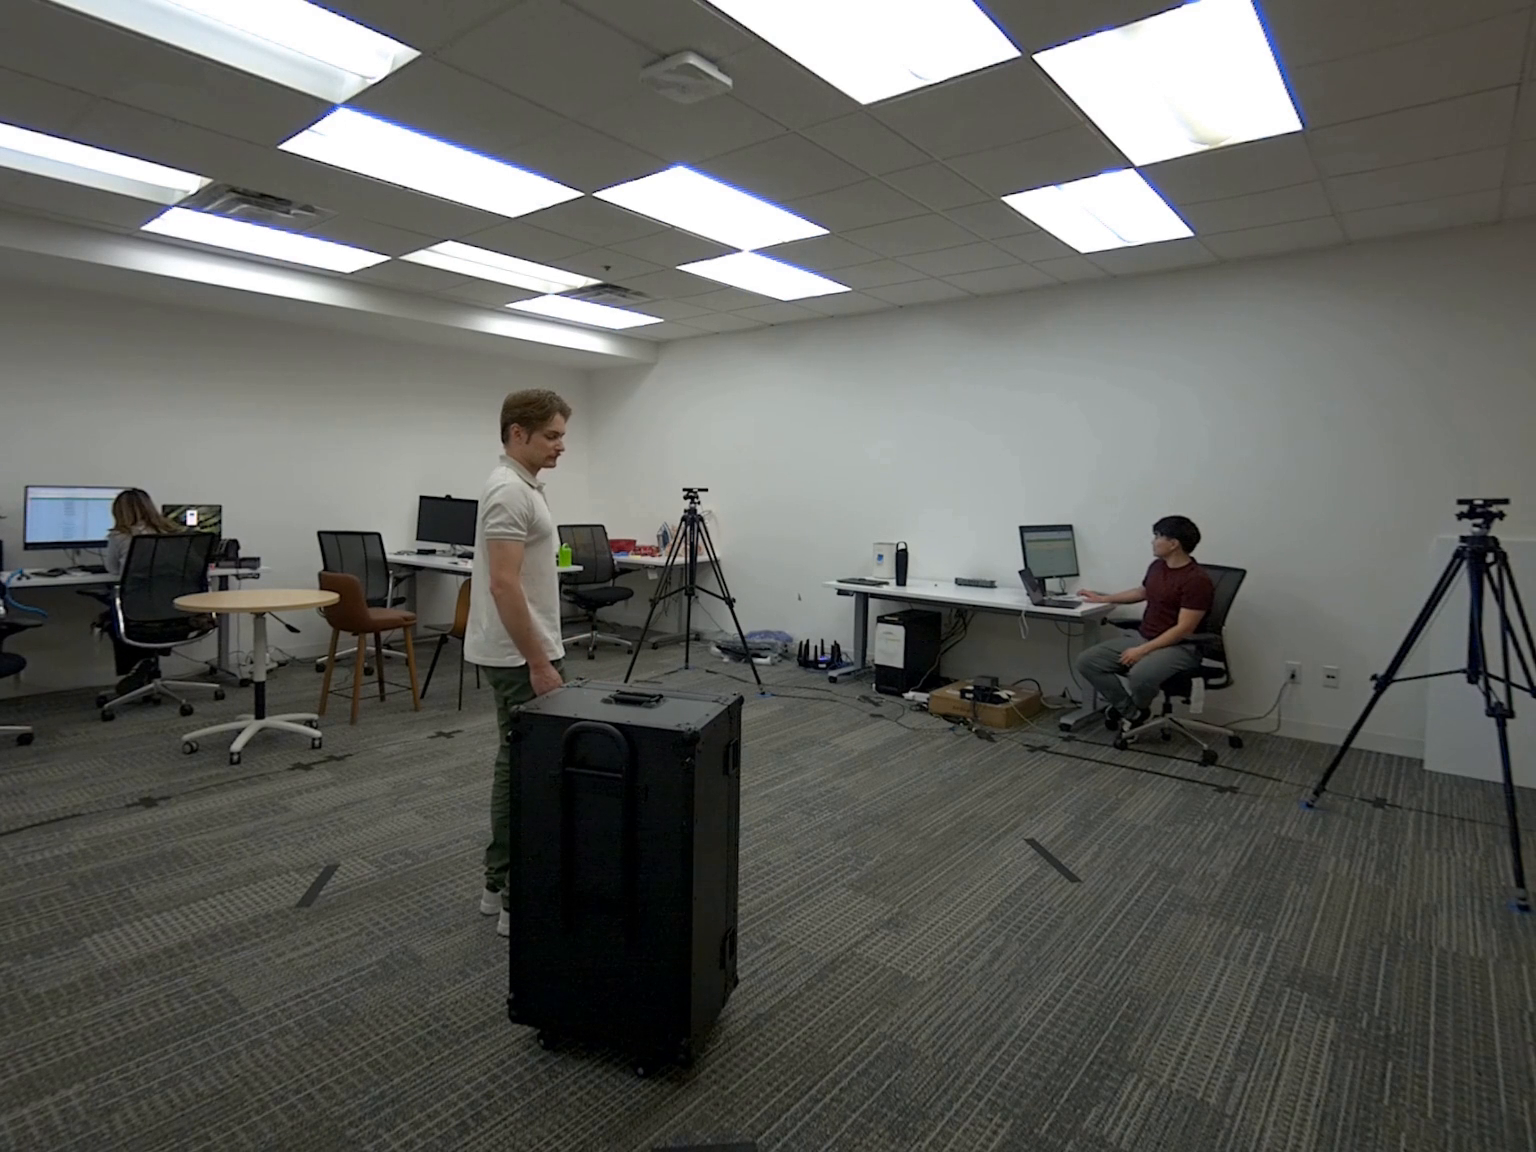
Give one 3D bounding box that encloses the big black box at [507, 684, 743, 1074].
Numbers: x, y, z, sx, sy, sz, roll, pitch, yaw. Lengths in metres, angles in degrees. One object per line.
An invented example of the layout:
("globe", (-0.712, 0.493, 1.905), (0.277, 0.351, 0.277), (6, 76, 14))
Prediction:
("big black box", (-0.357, 0.739, 2.149), (0.533, 0.866, 0.379), (2, 4, 17))
